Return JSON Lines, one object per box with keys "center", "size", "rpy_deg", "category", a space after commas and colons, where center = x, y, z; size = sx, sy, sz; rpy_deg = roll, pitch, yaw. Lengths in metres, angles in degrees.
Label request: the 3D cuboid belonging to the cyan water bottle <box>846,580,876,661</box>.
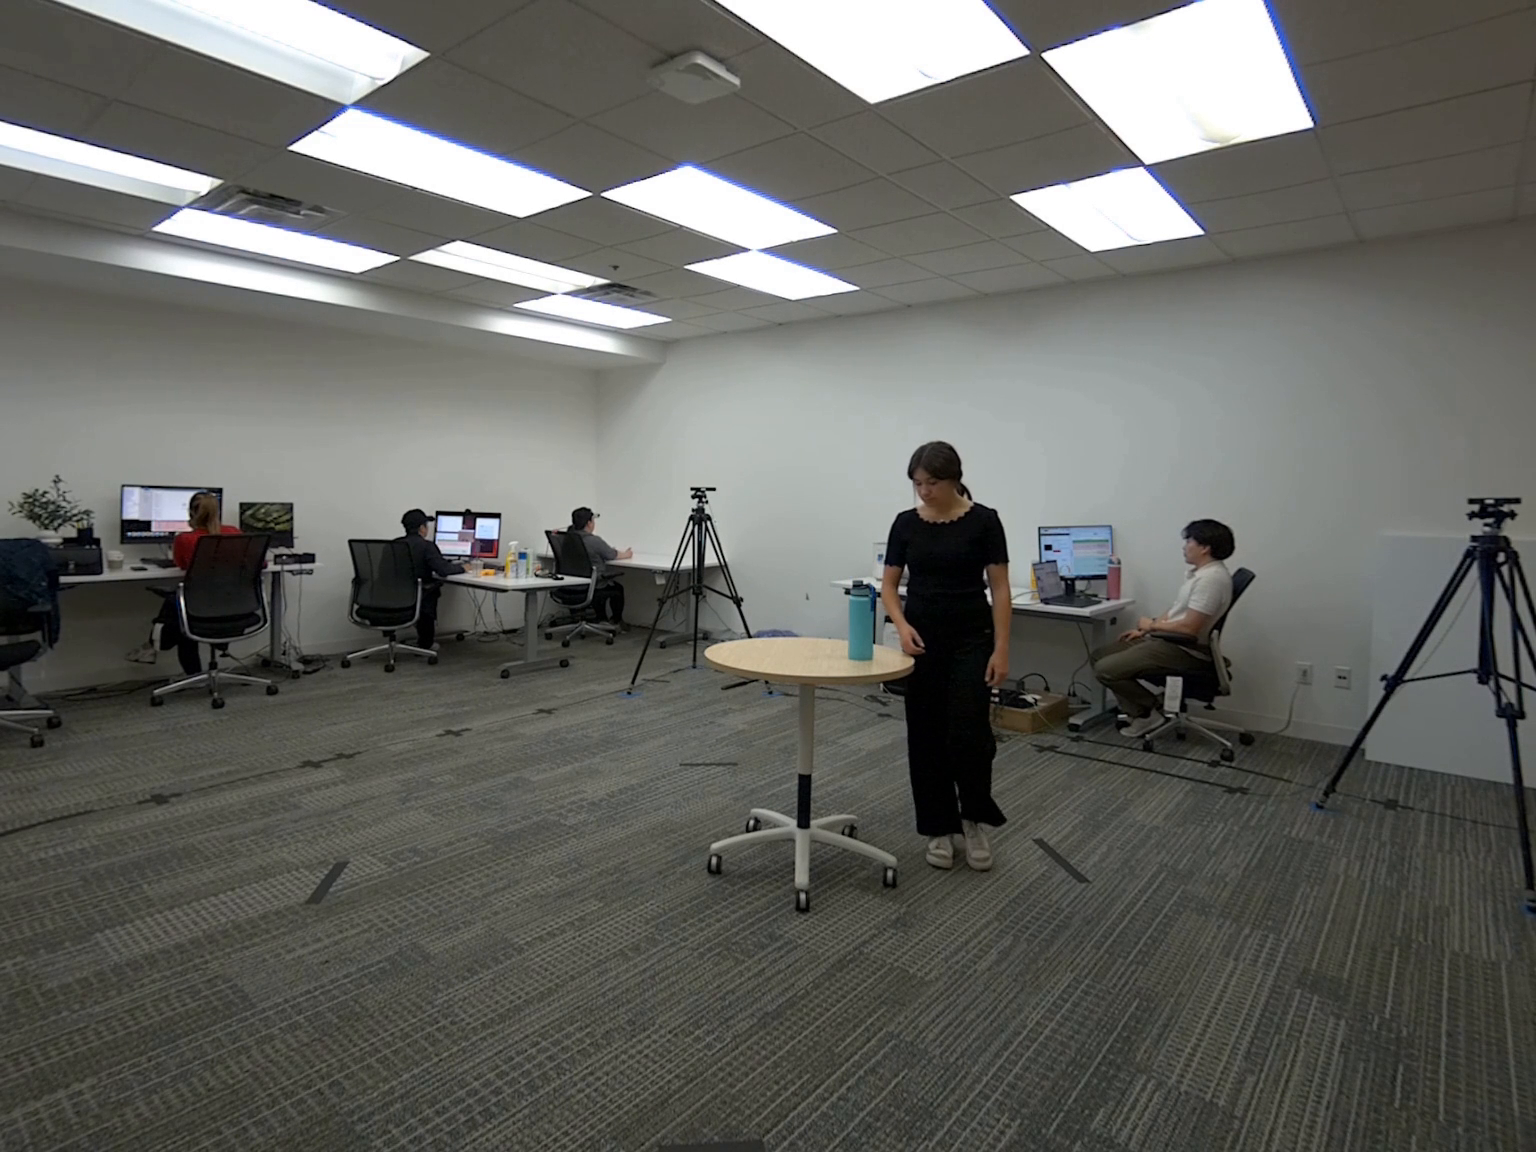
{"center": [0.326, 0.154, 3.065], "size": [0.092, 0.282, 0.093], "rpy_deg": [1, 6, -2], "category": "cyan water bottle"}
